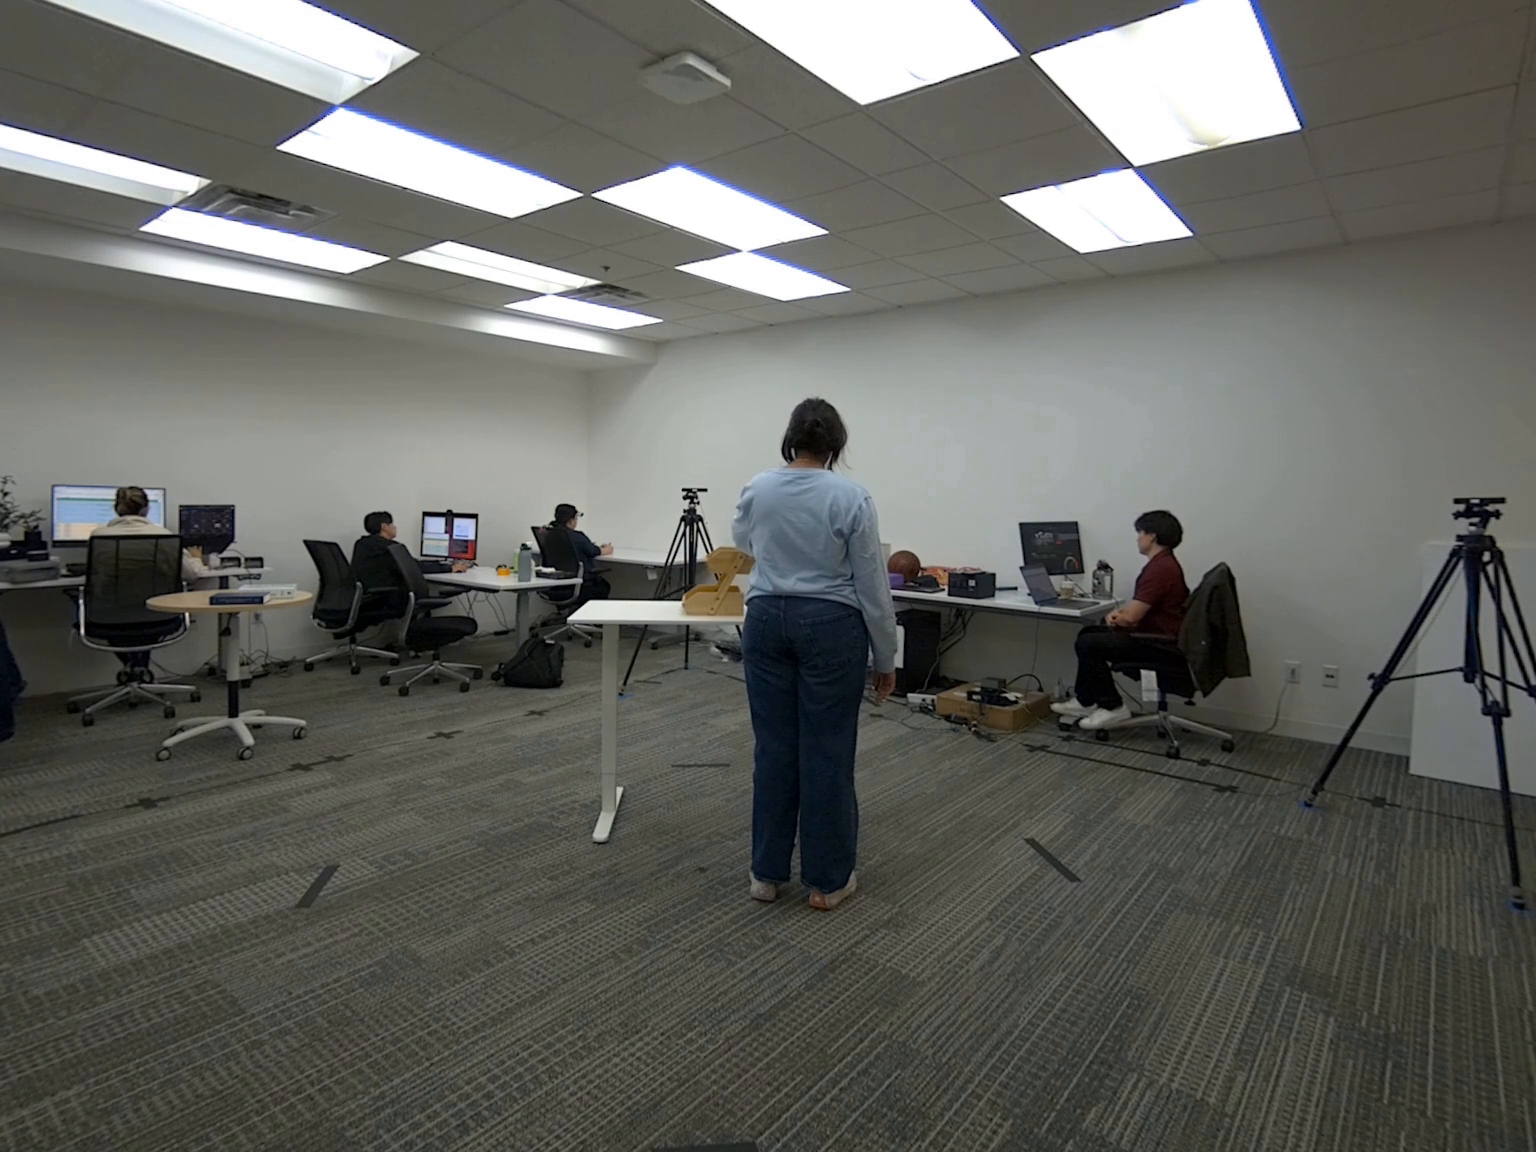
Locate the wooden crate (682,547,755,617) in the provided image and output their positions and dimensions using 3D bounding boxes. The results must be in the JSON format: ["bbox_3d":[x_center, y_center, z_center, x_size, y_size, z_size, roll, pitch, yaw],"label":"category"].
[{"bbox_3d":[-0.221,0.010,3.566,0.301,0.272,0.326,1,4,-3],"label":"wooden crate"}]
